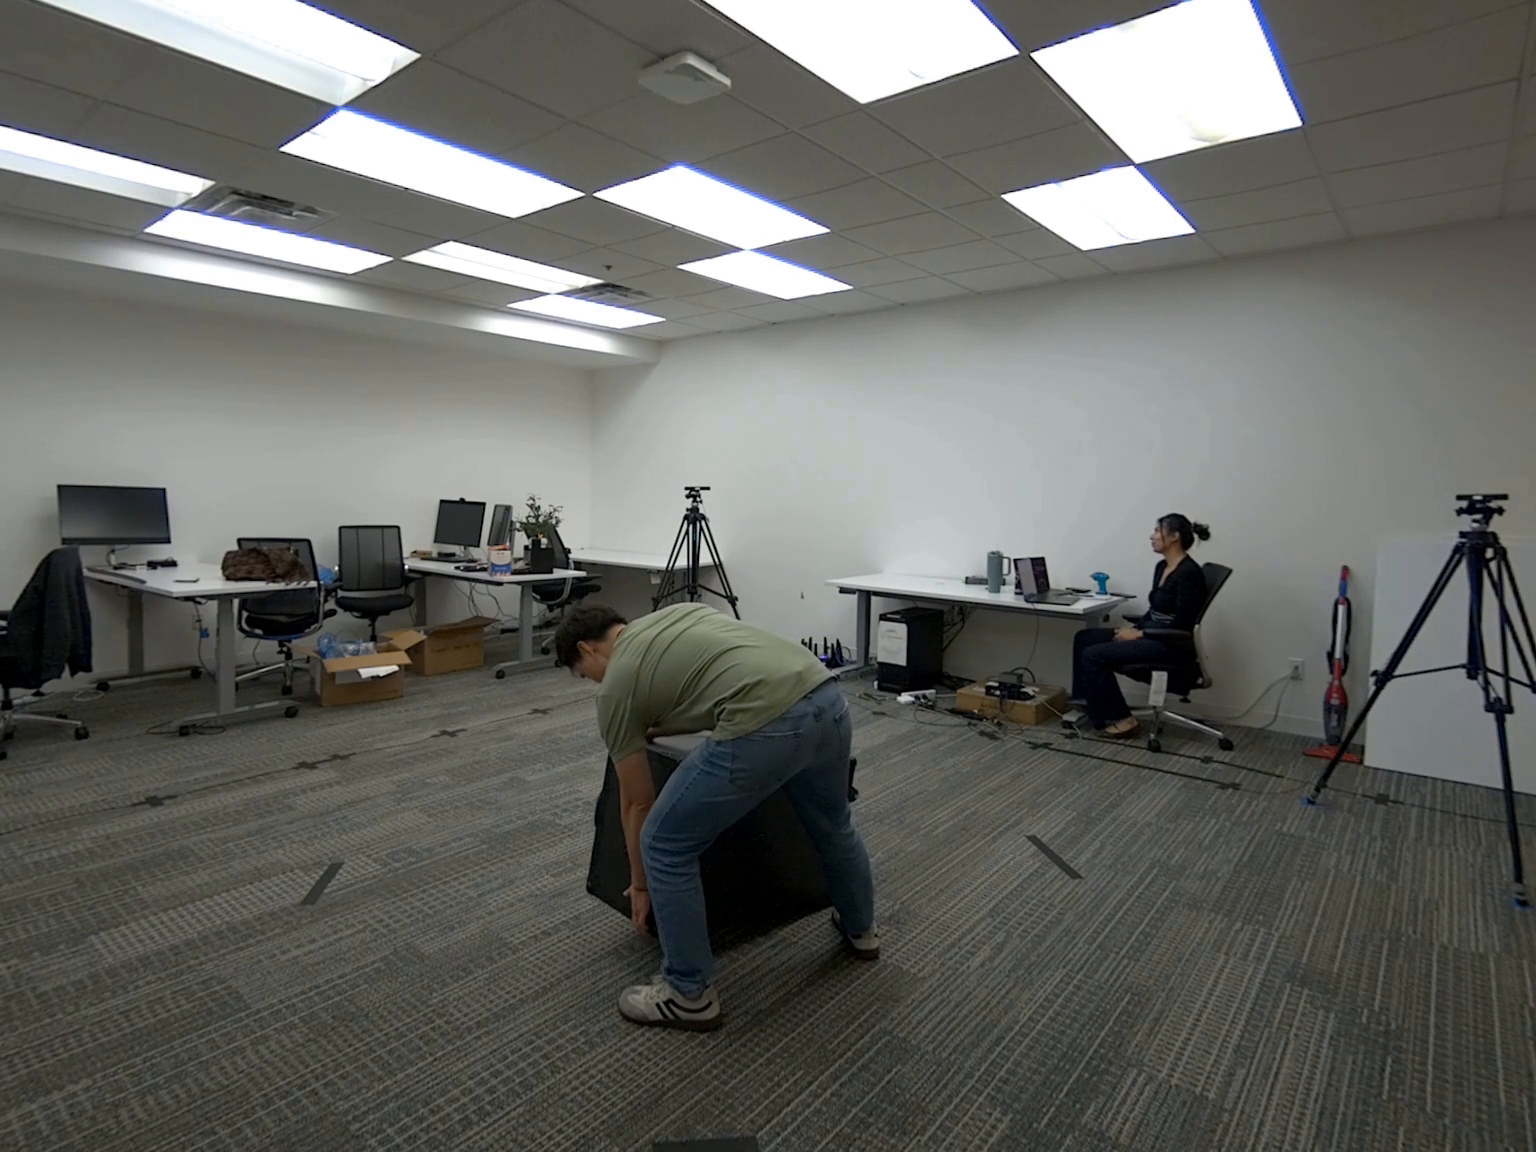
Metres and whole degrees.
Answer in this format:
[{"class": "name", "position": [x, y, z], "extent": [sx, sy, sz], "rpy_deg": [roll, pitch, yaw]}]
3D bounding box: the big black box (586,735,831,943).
[{"class": "big black box", "position": [-0.124, 0.801, 2.782], "extent": [0.830, 0.522, 0.410], "rpy_deg": [11, -3, -42]}]
